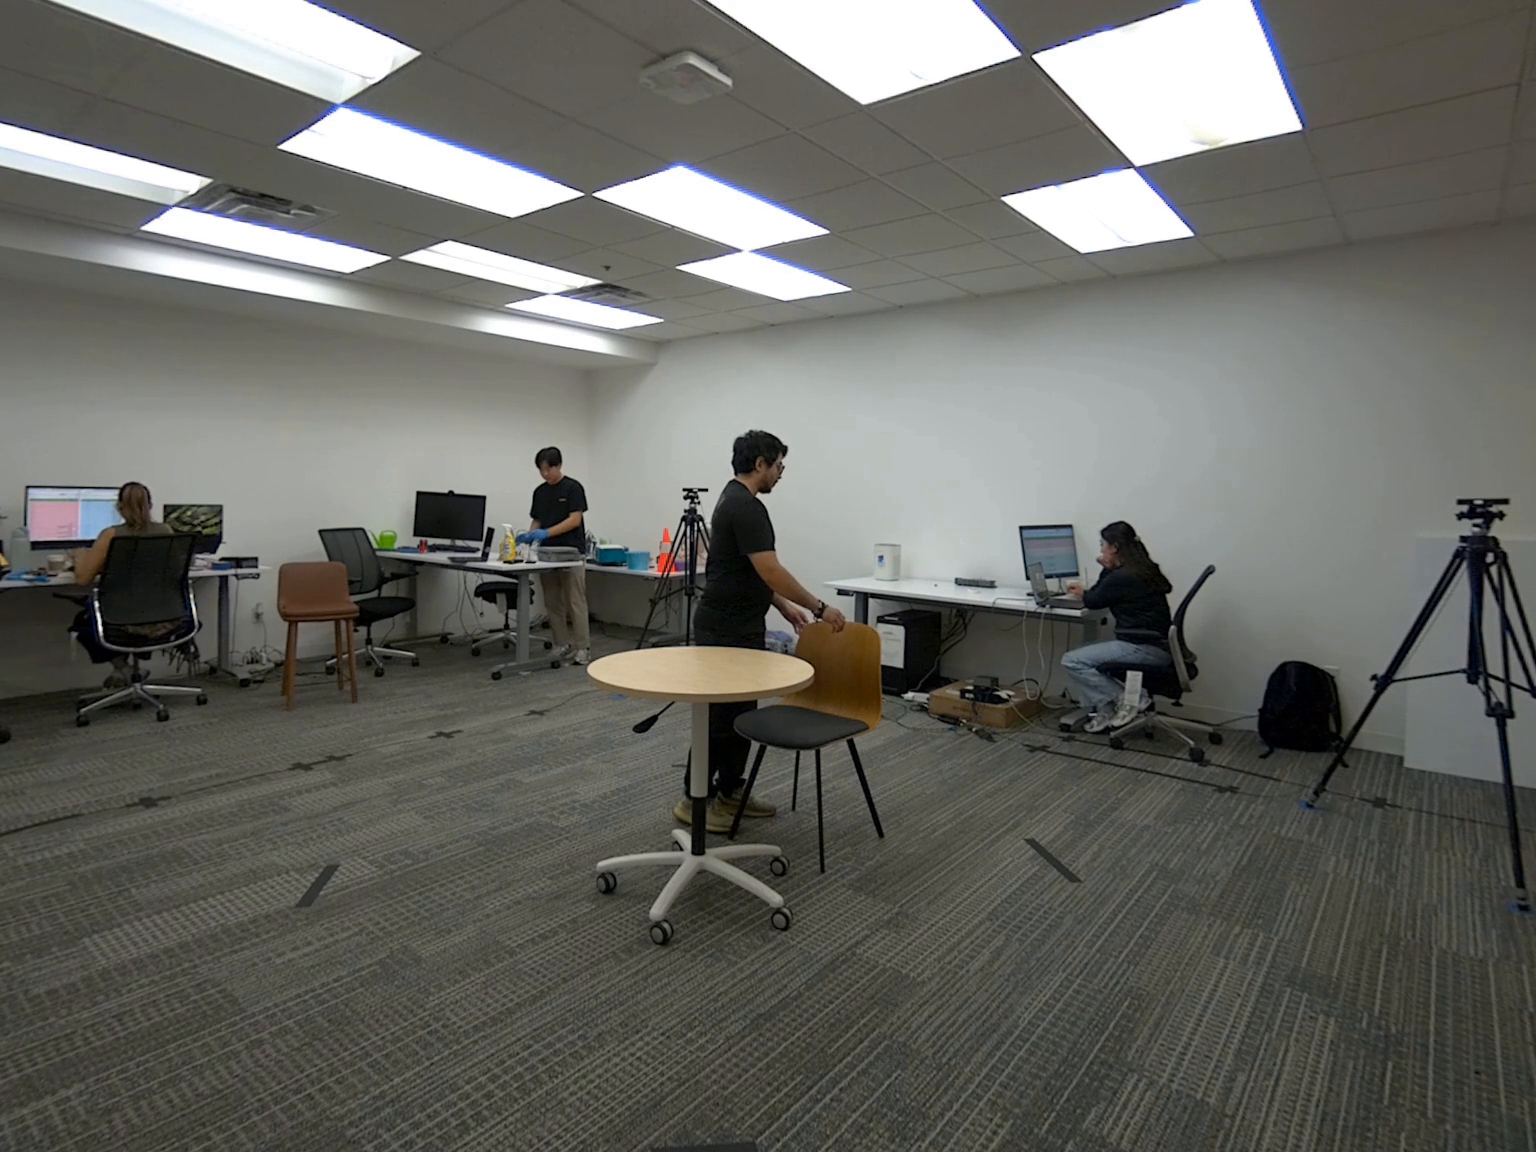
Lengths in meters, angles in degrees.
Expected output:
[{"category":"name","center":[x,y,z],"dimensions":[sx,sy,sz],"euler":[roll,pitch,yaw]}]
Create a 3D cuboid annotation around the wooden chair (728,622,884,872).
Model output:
[{"category":"wooden chair","center":[0.151,0.619,3.370],"dimensions":[0.494,0.877,0.506],"euler":[4,0,38]}]
